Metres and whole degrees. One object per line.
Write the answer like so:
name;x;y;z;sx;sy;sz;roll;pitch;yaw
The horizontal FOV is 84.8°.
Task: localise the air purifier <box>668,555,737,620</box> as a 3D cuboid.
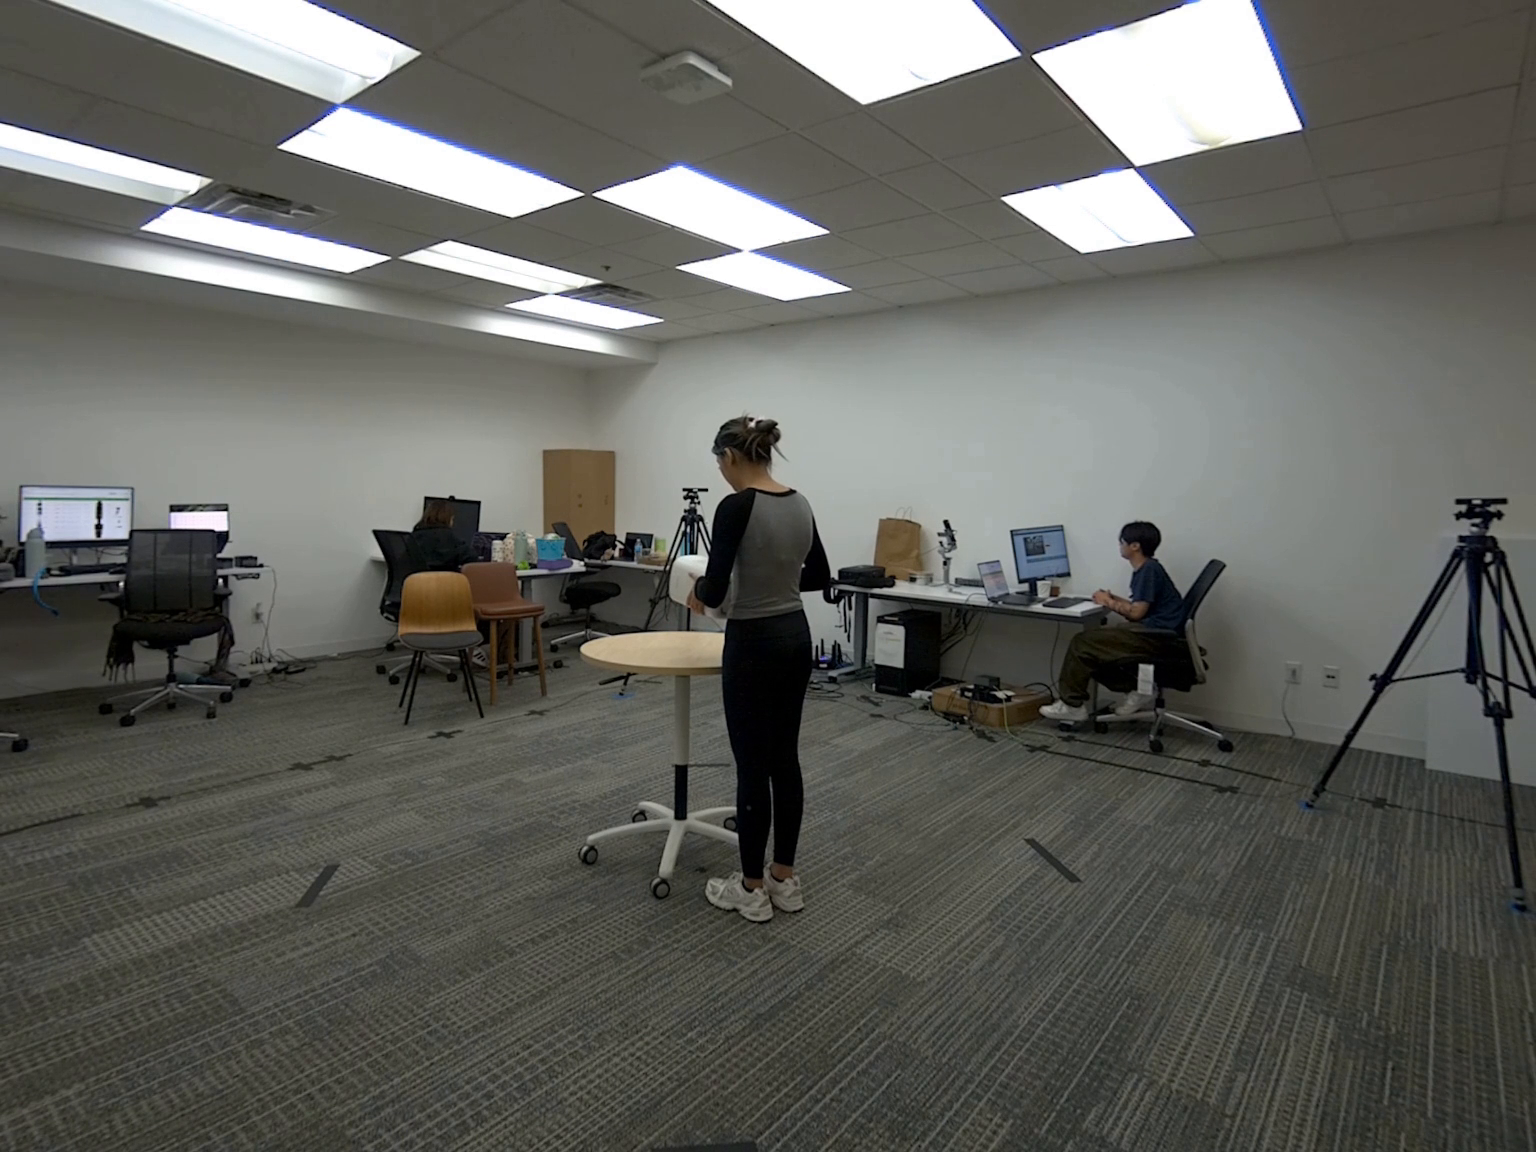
air purifier;-0.209;0.035;3.002;0.166;0.170;0.276;-2;14;-42
